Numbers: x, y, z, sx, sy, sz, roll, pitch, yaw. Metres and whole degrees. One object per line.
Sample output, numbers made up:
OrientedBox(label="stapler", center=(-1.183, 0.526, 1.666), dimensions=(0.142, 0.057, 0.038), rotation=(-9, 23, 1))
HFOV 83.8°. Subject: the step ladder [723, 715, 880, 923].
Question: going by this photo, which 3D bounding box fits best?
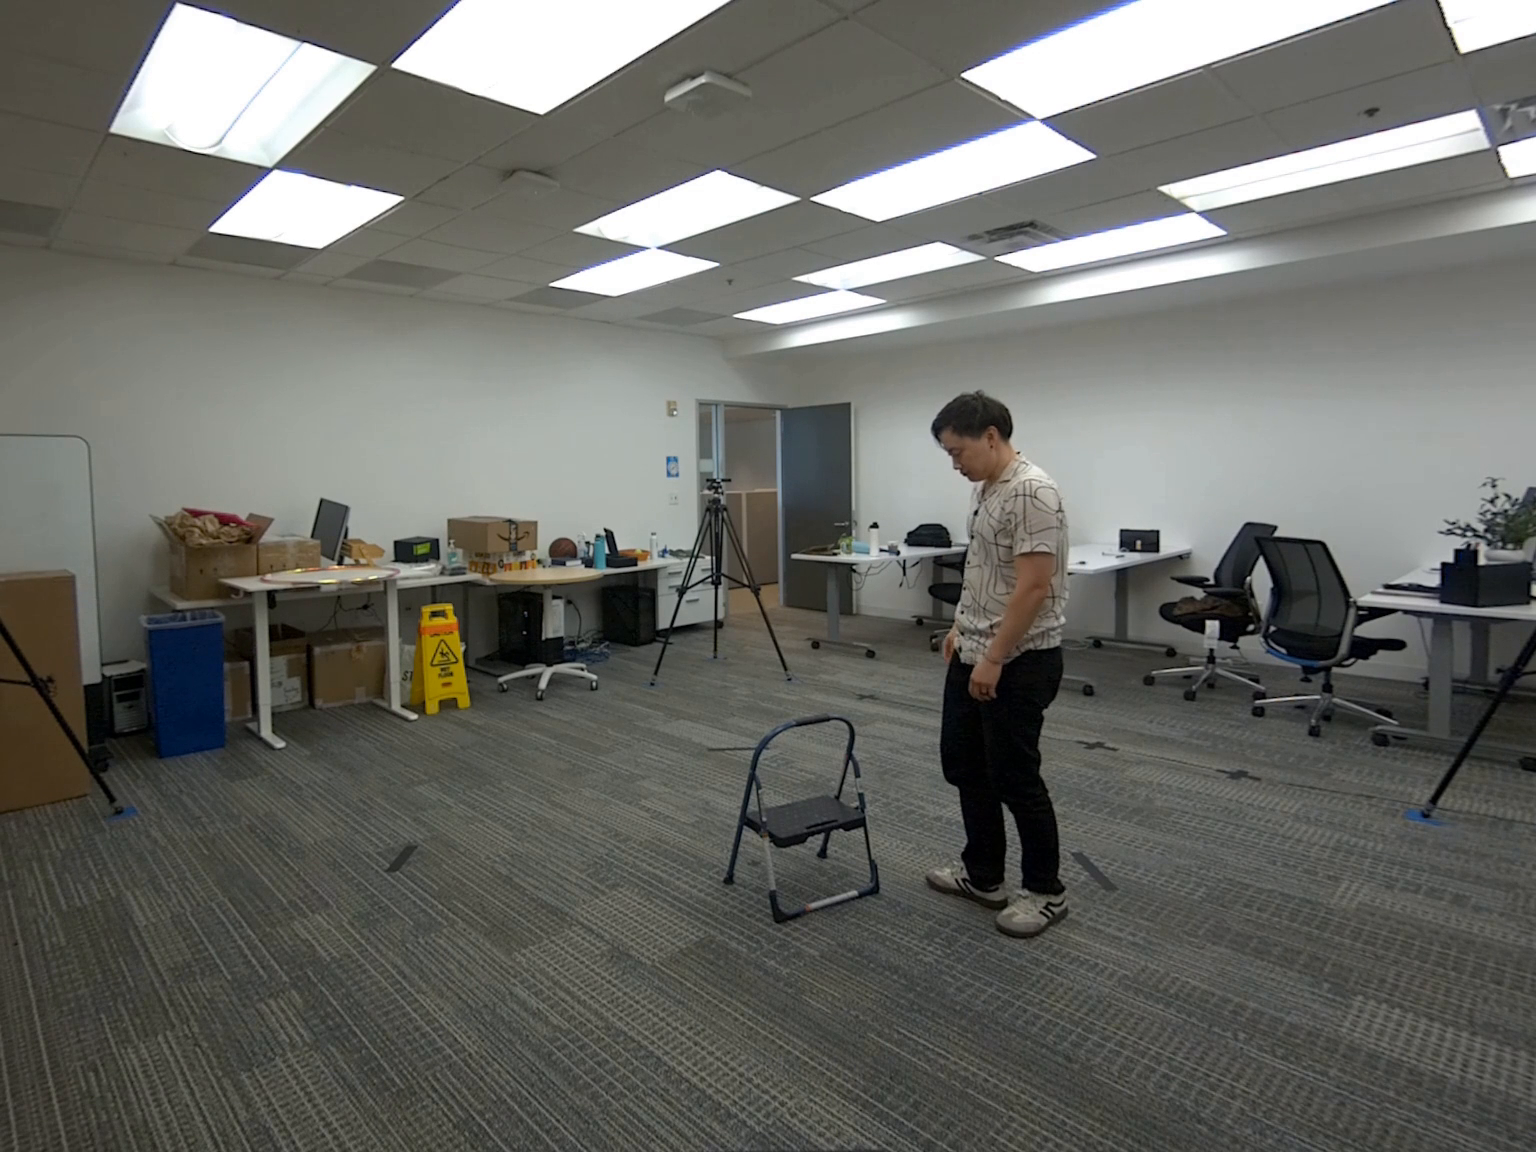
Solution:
OrientedBox(label="step ladder", center=(0.110, 0.760, 2.905), dimensions=(0.420, 0.603, 0.359), rotation=(-3, 6, -30))
